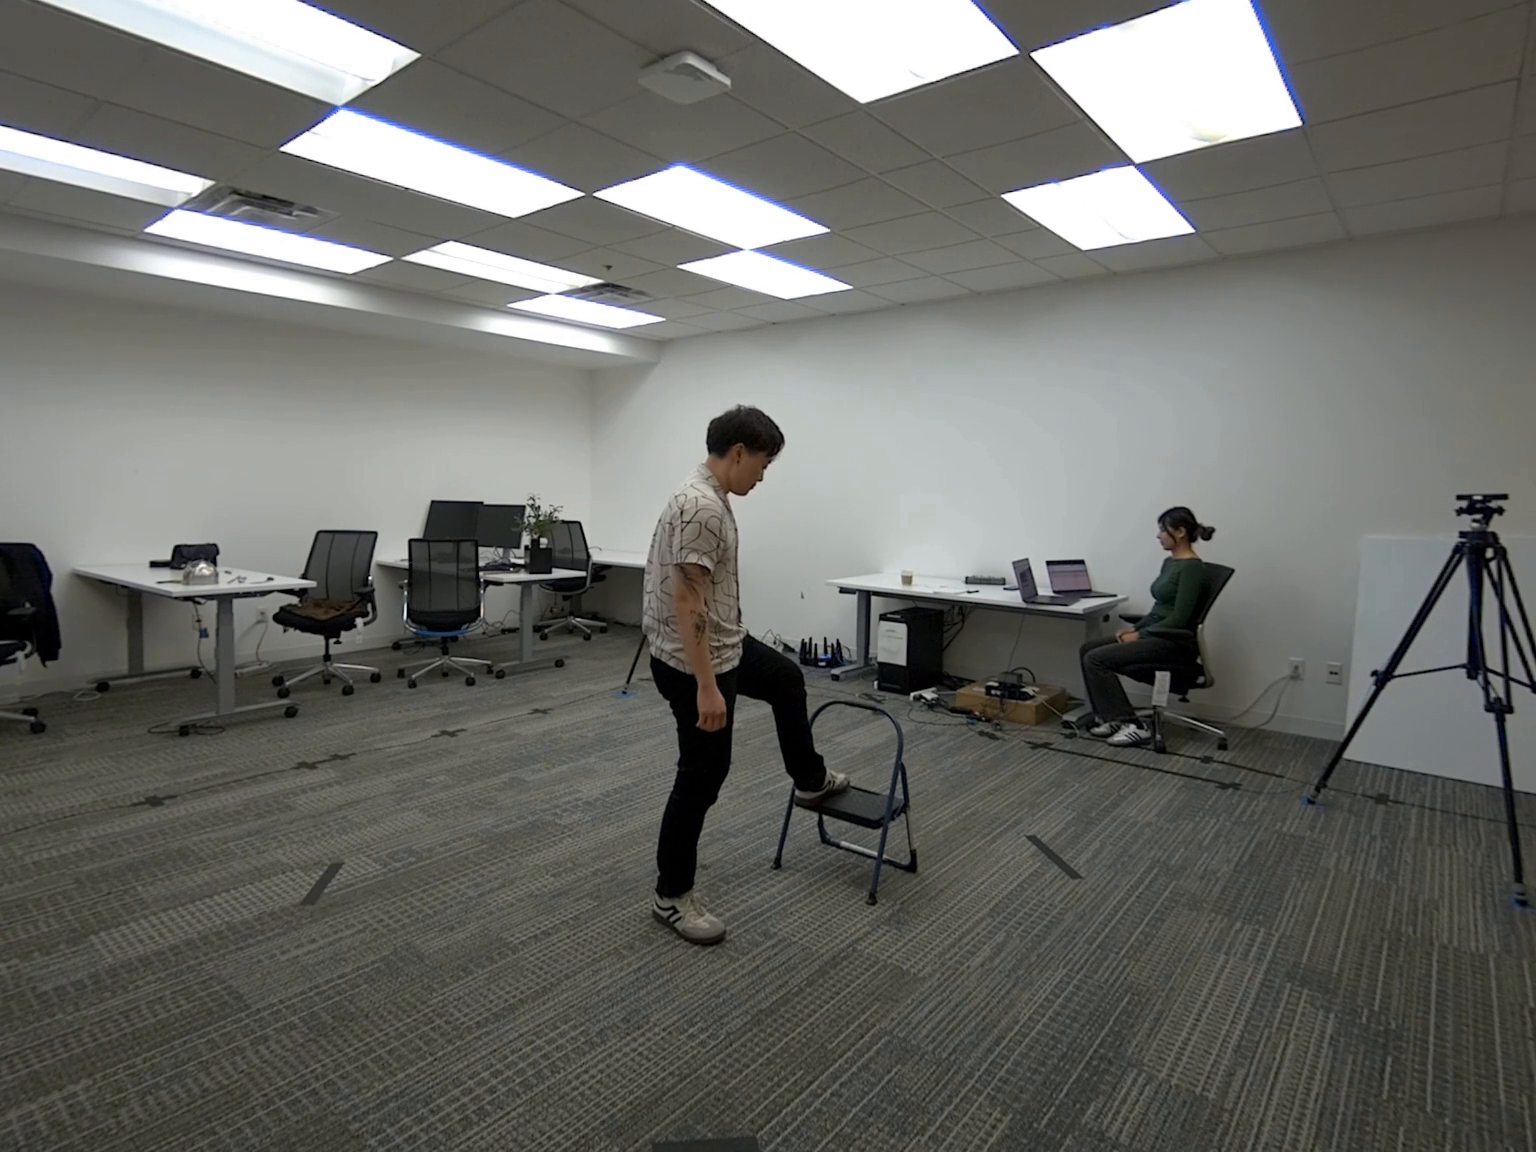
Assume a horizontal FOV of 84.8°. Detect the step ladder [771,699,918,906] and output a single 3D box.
[{"bbox_3d":[0.283,0.771,3.103,0.445,0.604,0.339,4,4,37],"label":"step ladder"}]
